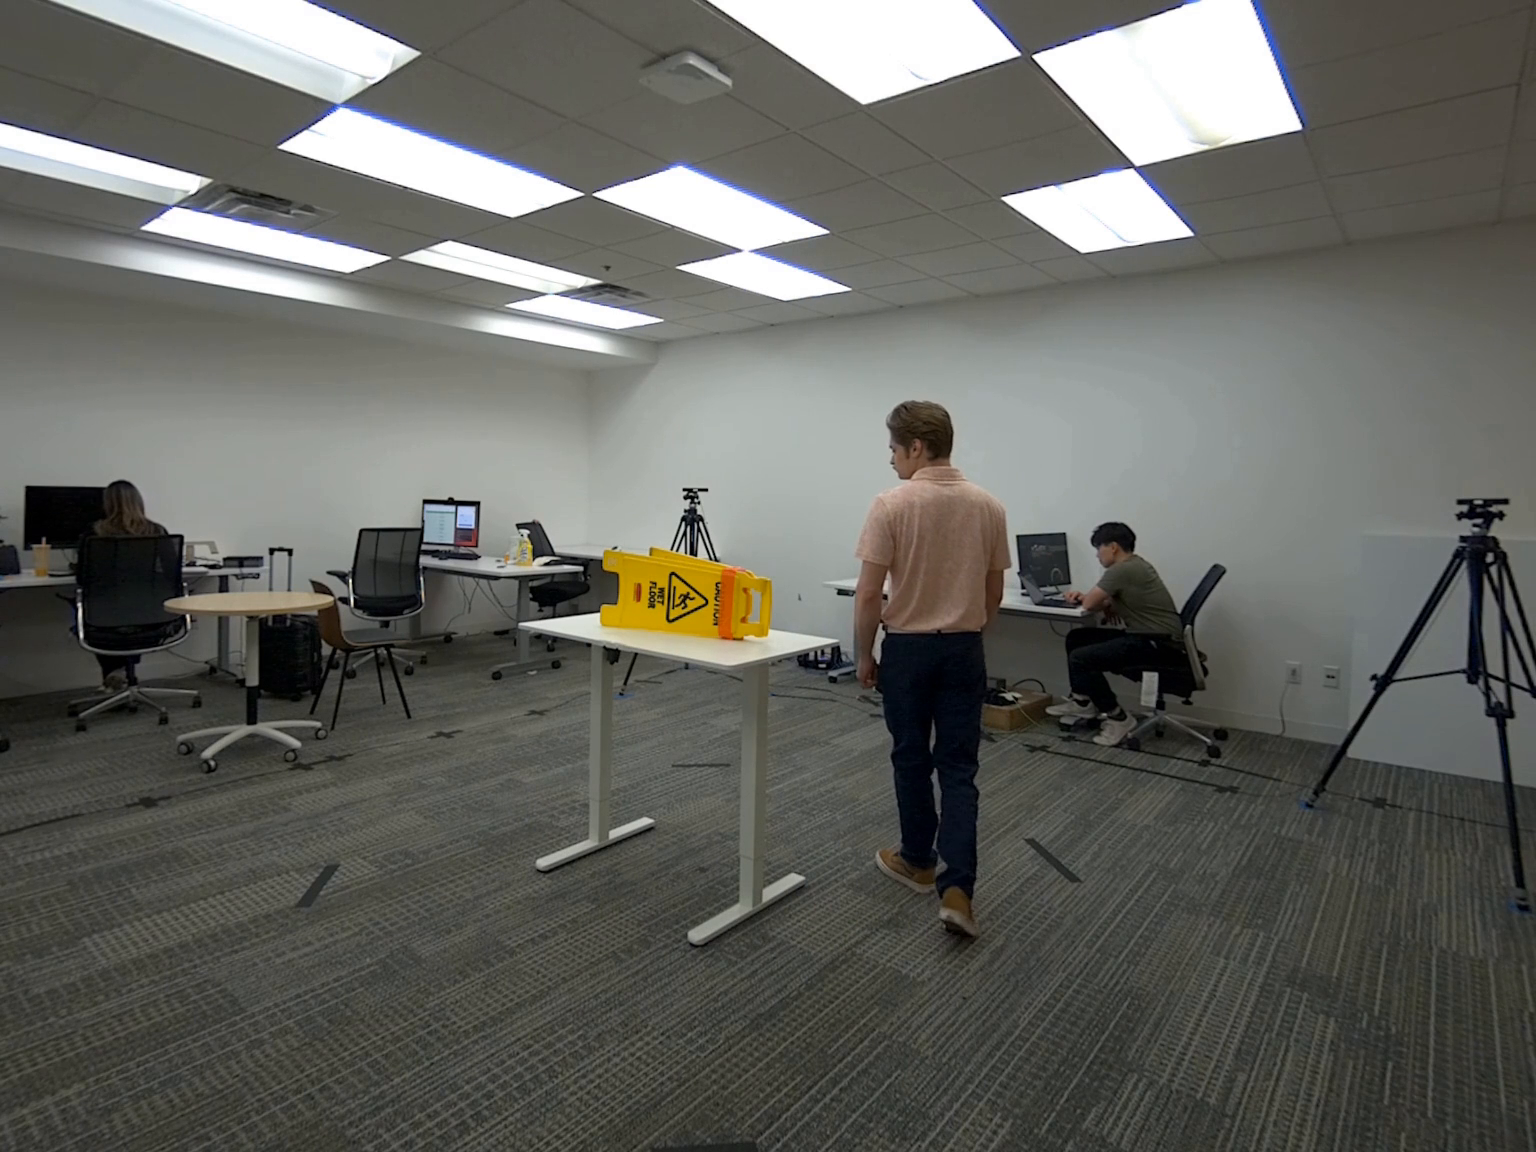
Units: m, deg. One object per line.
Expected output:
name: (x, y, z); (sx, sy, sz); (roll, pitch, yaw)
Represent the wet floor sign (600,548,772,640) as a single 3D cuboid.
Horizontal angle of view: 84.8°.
wet floor sign: (-0.279, 0.071, 2.998); (0.668, 0.281, 0.281); (8, 7, 36)
